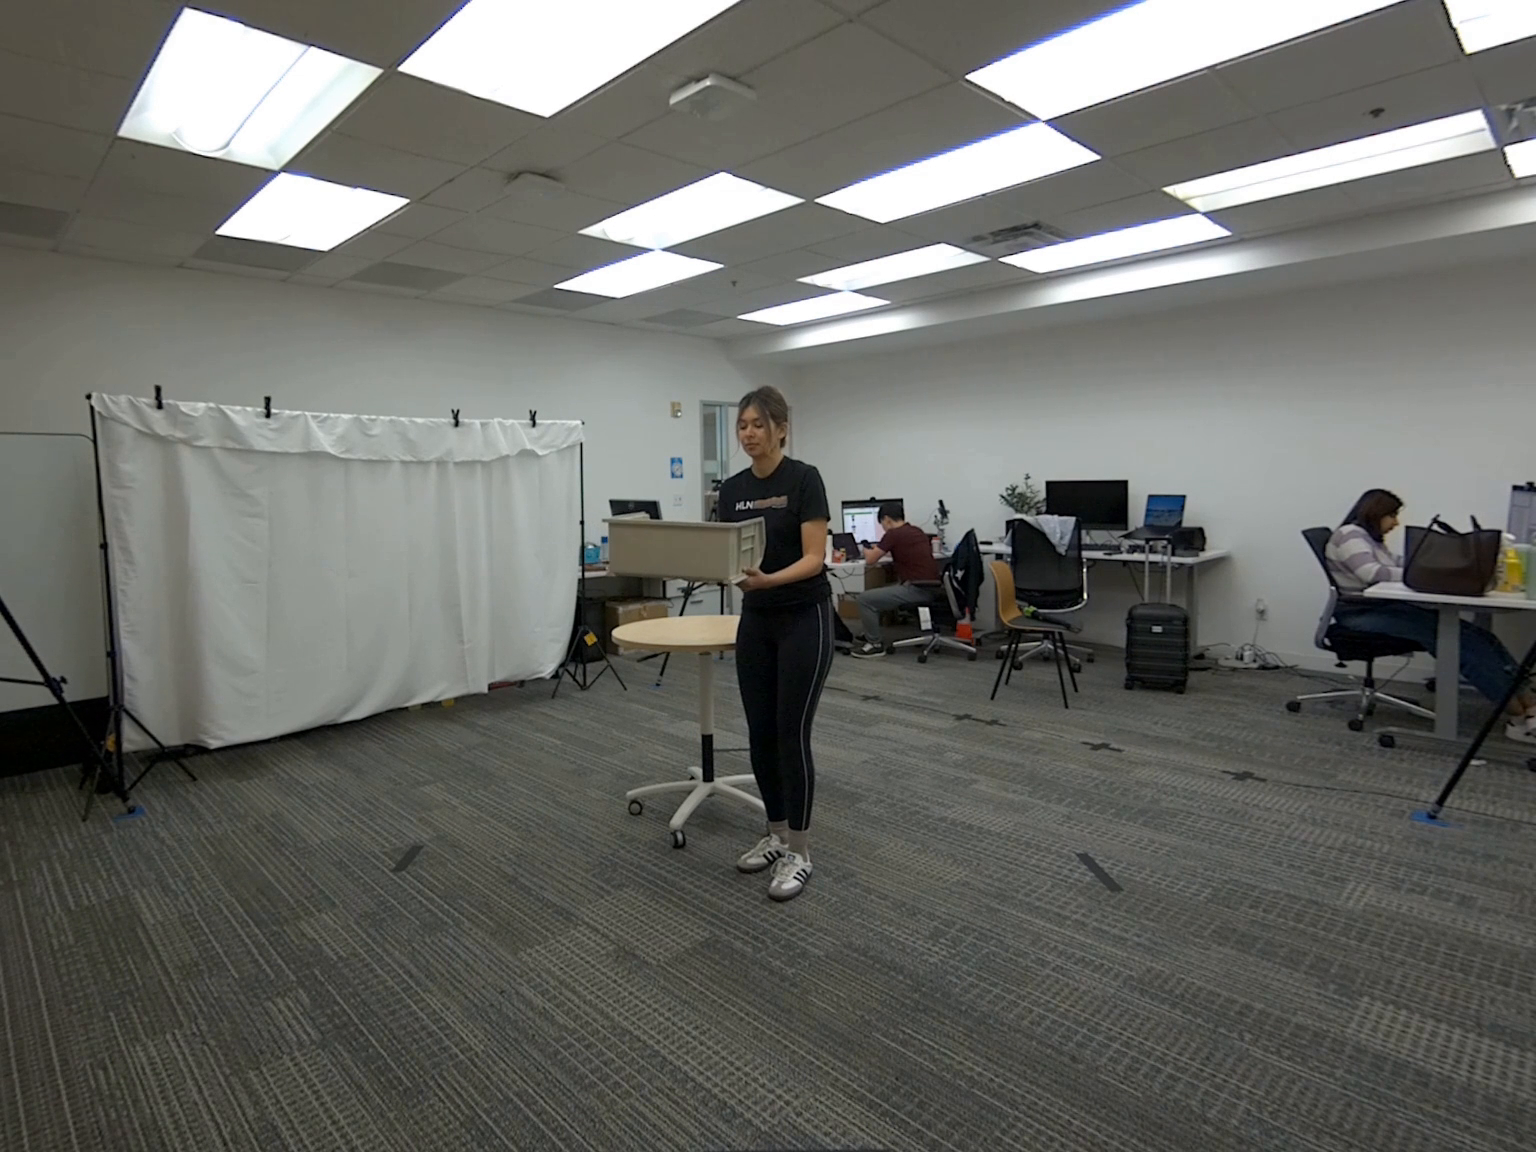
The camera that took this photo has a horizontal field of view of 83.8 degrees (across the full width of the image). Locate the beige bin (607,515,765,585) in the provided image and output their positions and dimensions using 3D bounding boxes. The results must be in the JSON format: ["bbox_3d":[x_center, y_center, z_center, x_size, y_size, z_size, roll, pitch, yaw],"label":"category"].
[{"bbox_3d":[-0.263,-0.095,2.705,0.428,0.188,0.375,4,9,12],"label":"beige bin"}]
